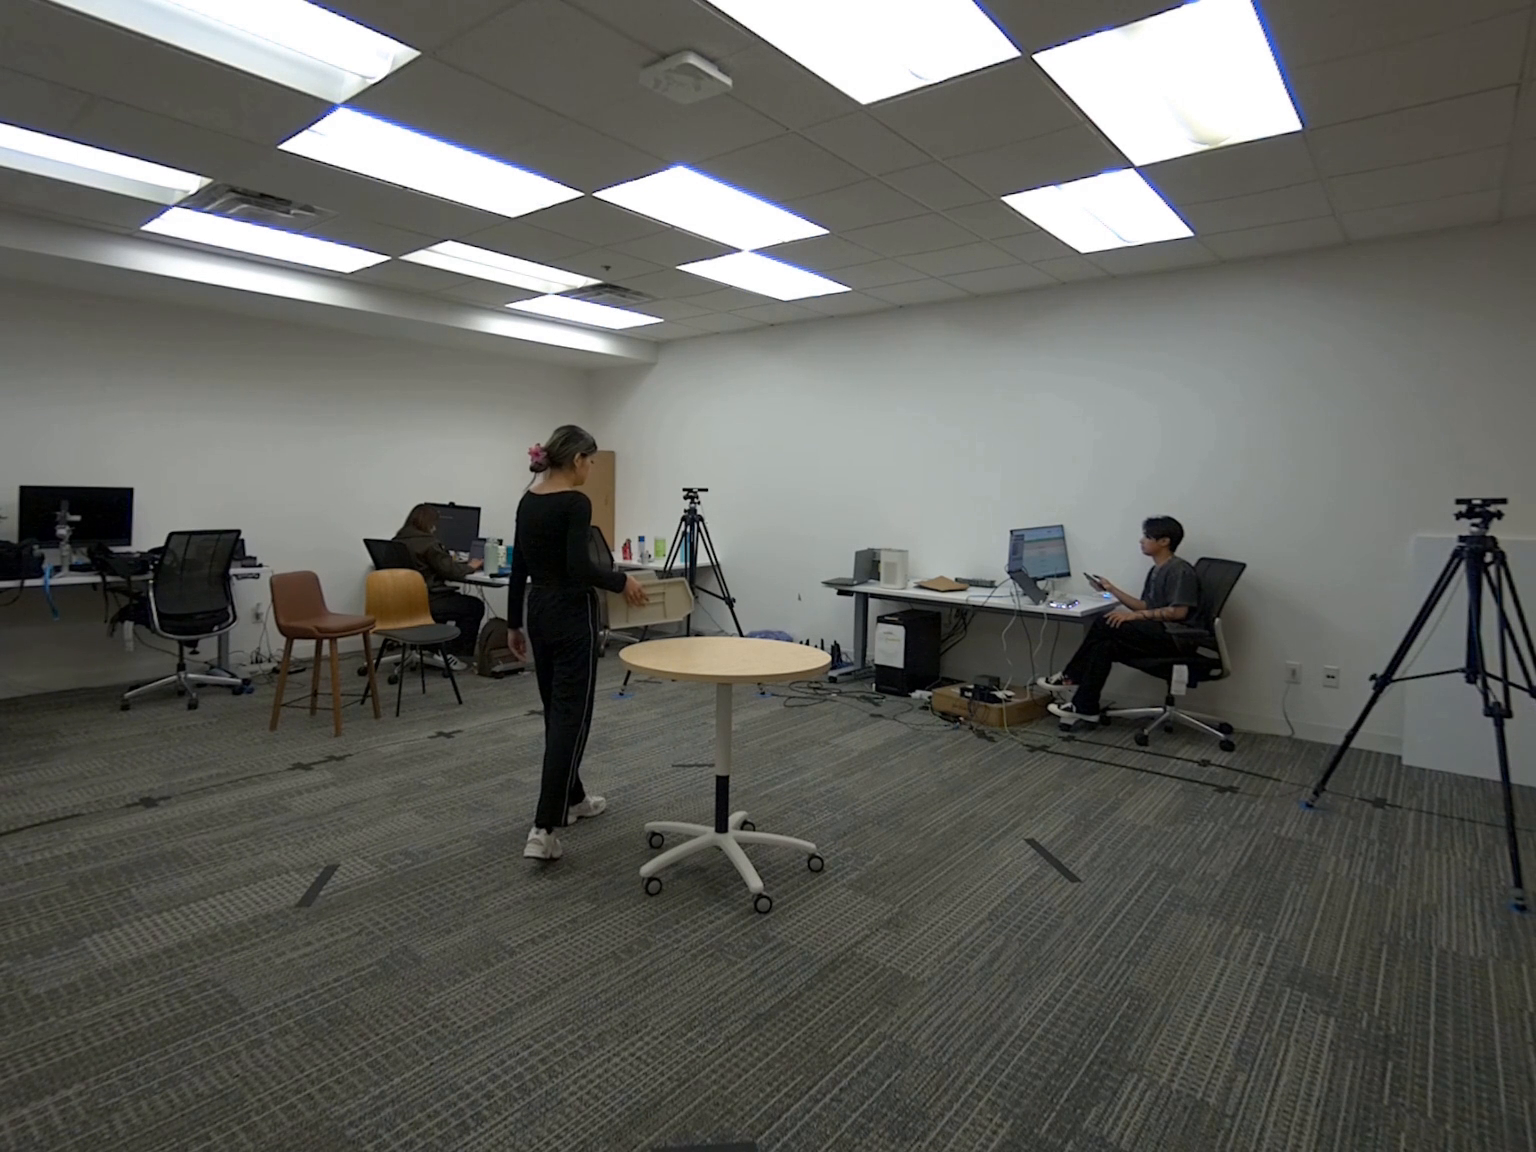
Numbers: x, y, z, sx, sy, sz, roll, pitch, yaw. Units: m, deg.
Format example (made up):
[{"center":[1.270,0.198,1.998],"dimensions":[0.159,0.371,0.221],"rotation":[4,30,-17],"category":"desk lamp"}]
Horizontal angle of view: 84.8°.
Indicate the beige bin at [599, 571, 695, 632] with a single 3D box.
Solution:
[{"center":[-0.581,0.093,3.652],"dimensions":[0.370,0.188,0.434],"rotation":[-7,8,-23],"category":"beige bin"}]
